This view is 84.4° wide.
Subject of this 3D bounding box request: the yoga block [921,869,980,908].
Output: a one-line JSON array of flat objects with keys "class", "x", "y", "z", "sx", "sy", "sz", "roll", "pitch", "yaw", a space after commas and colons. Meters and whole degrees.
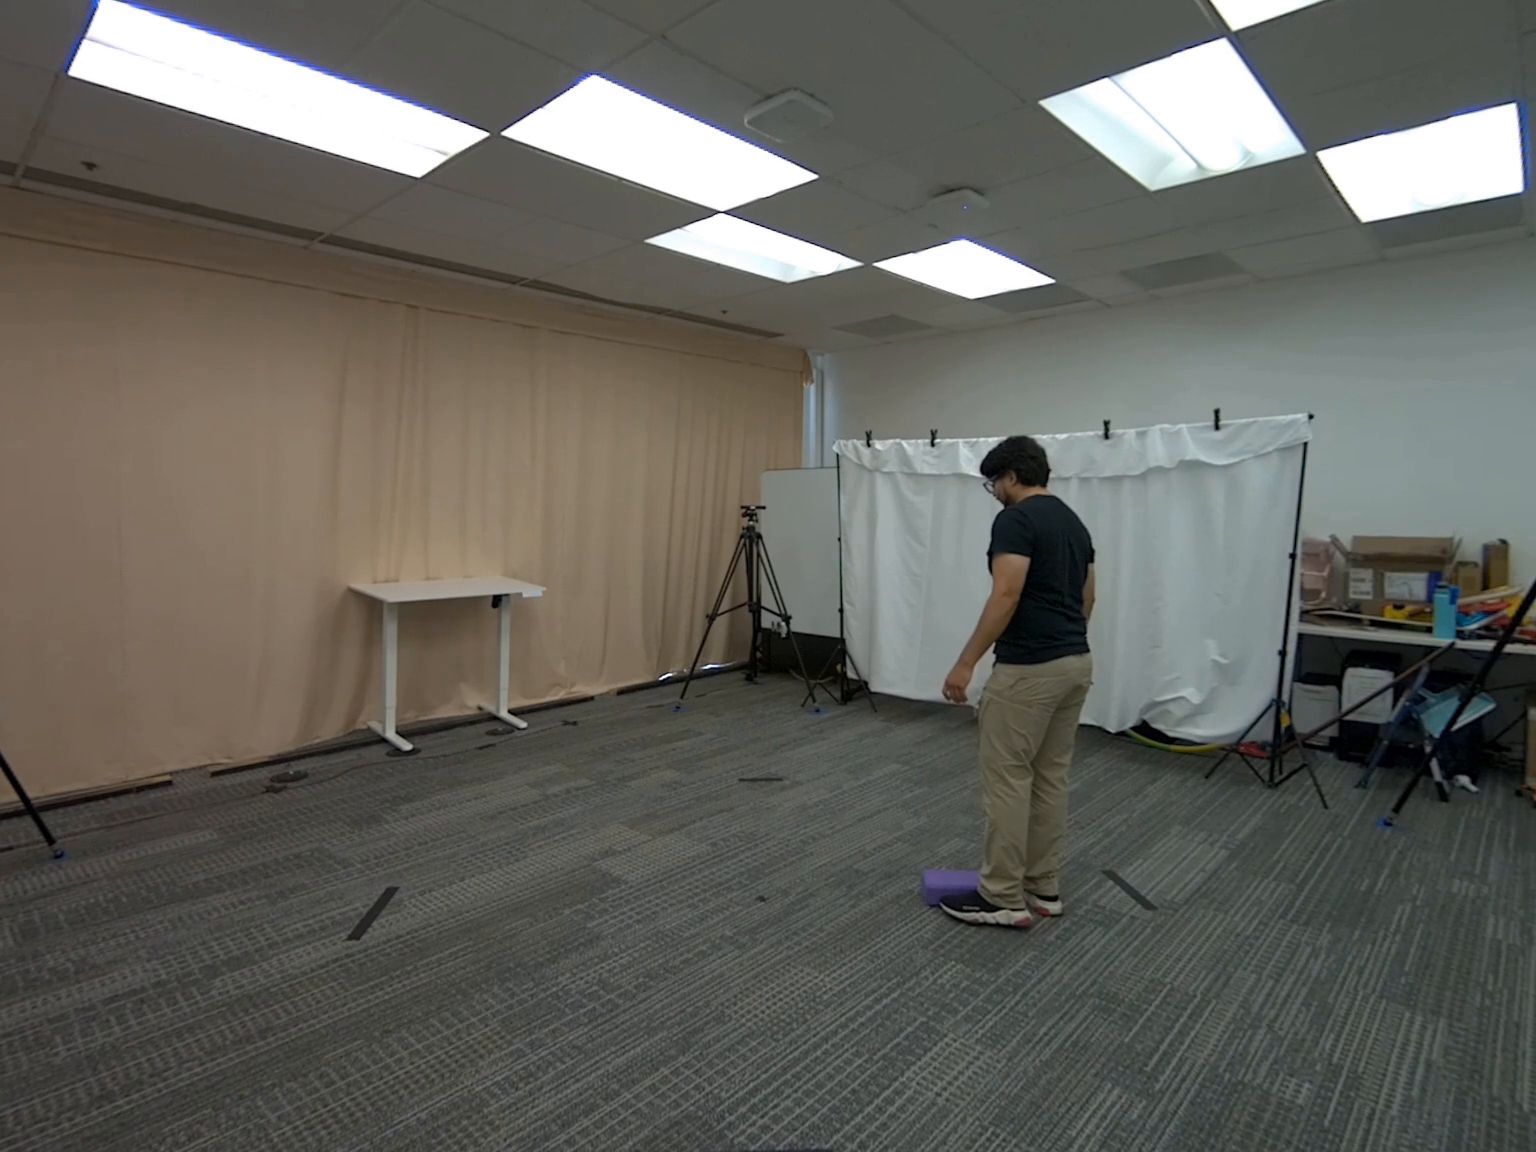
[{"class": "yoga block", "x": 0.679, "y": 1.105, "z": 2.979, "sx": 0.231, "sy": 0.076, "sz": 0.148, "roll": 0, "pitch": 4, "yaw": 6}]
